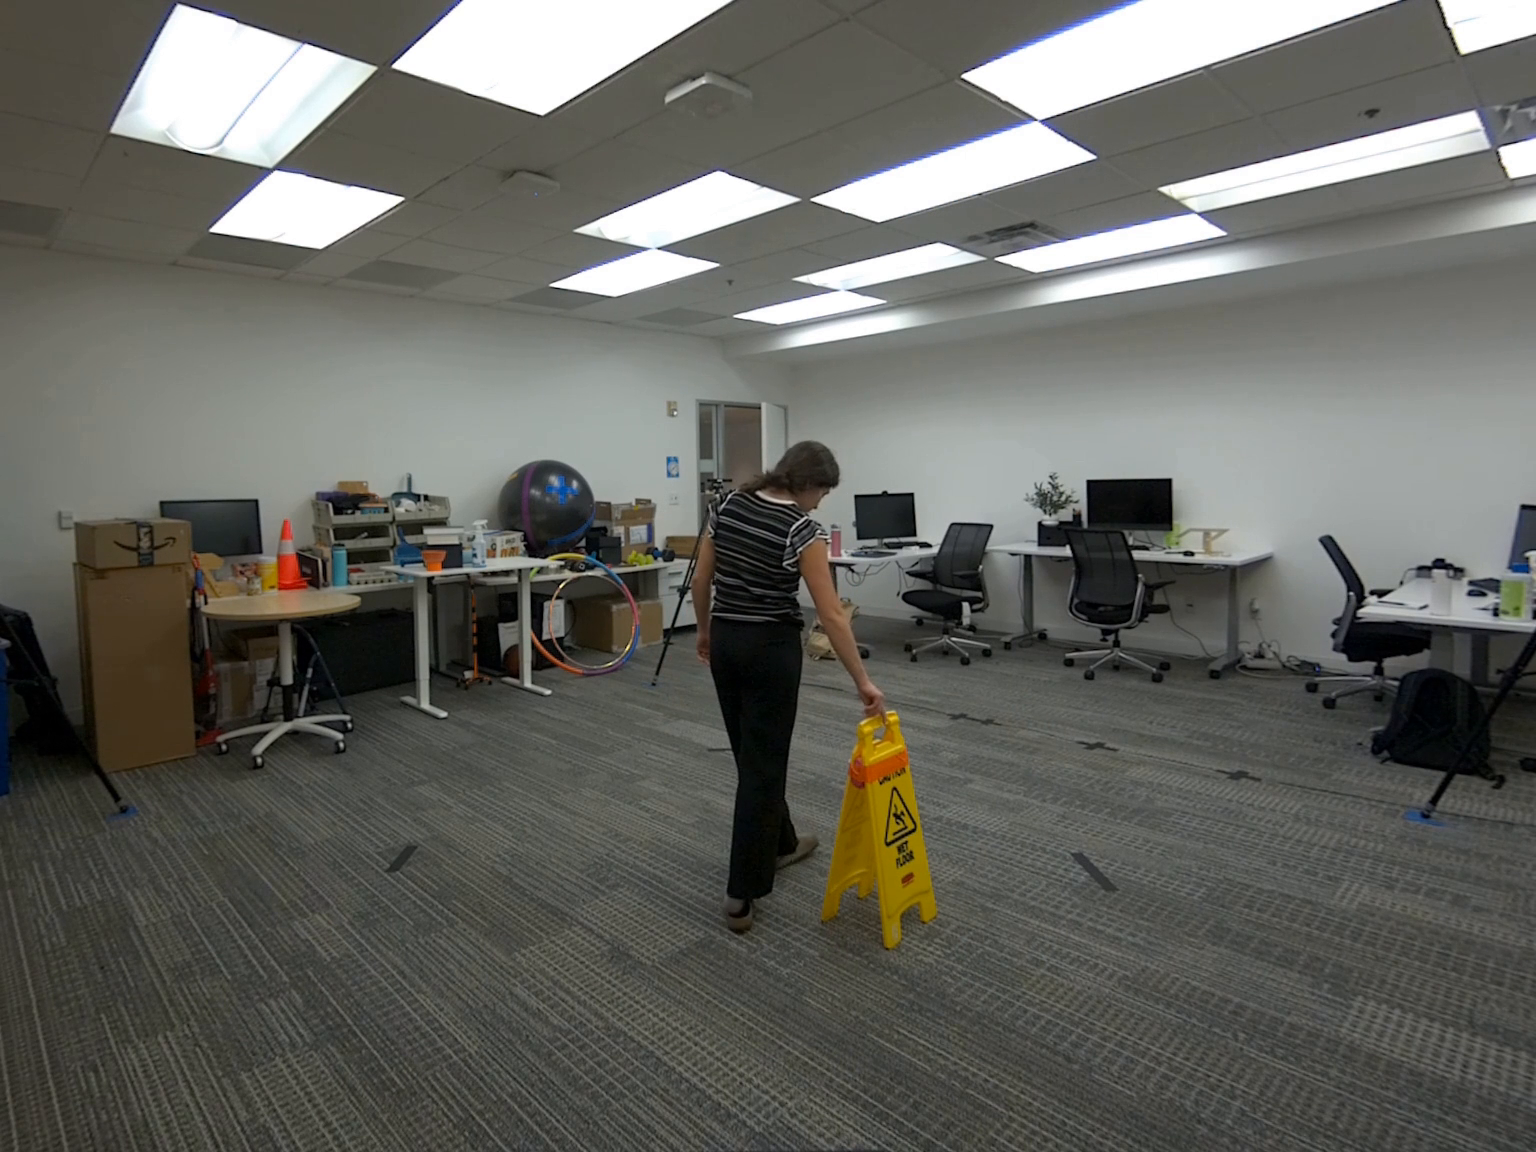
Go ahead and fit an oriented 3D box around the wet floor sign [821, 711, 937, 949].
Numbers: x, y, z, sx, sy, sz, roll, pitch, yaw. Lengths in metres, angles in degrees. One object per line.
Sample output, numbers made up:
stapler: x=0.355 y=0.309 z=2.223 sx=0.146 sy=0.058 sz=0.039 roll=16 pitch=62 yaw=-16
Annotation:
wet floor sign: x=0.351 y=0.760 z=2.682 sx=0.299 sy=0.643 sz=0.275 roll=5 pitch=6 yaw=41
